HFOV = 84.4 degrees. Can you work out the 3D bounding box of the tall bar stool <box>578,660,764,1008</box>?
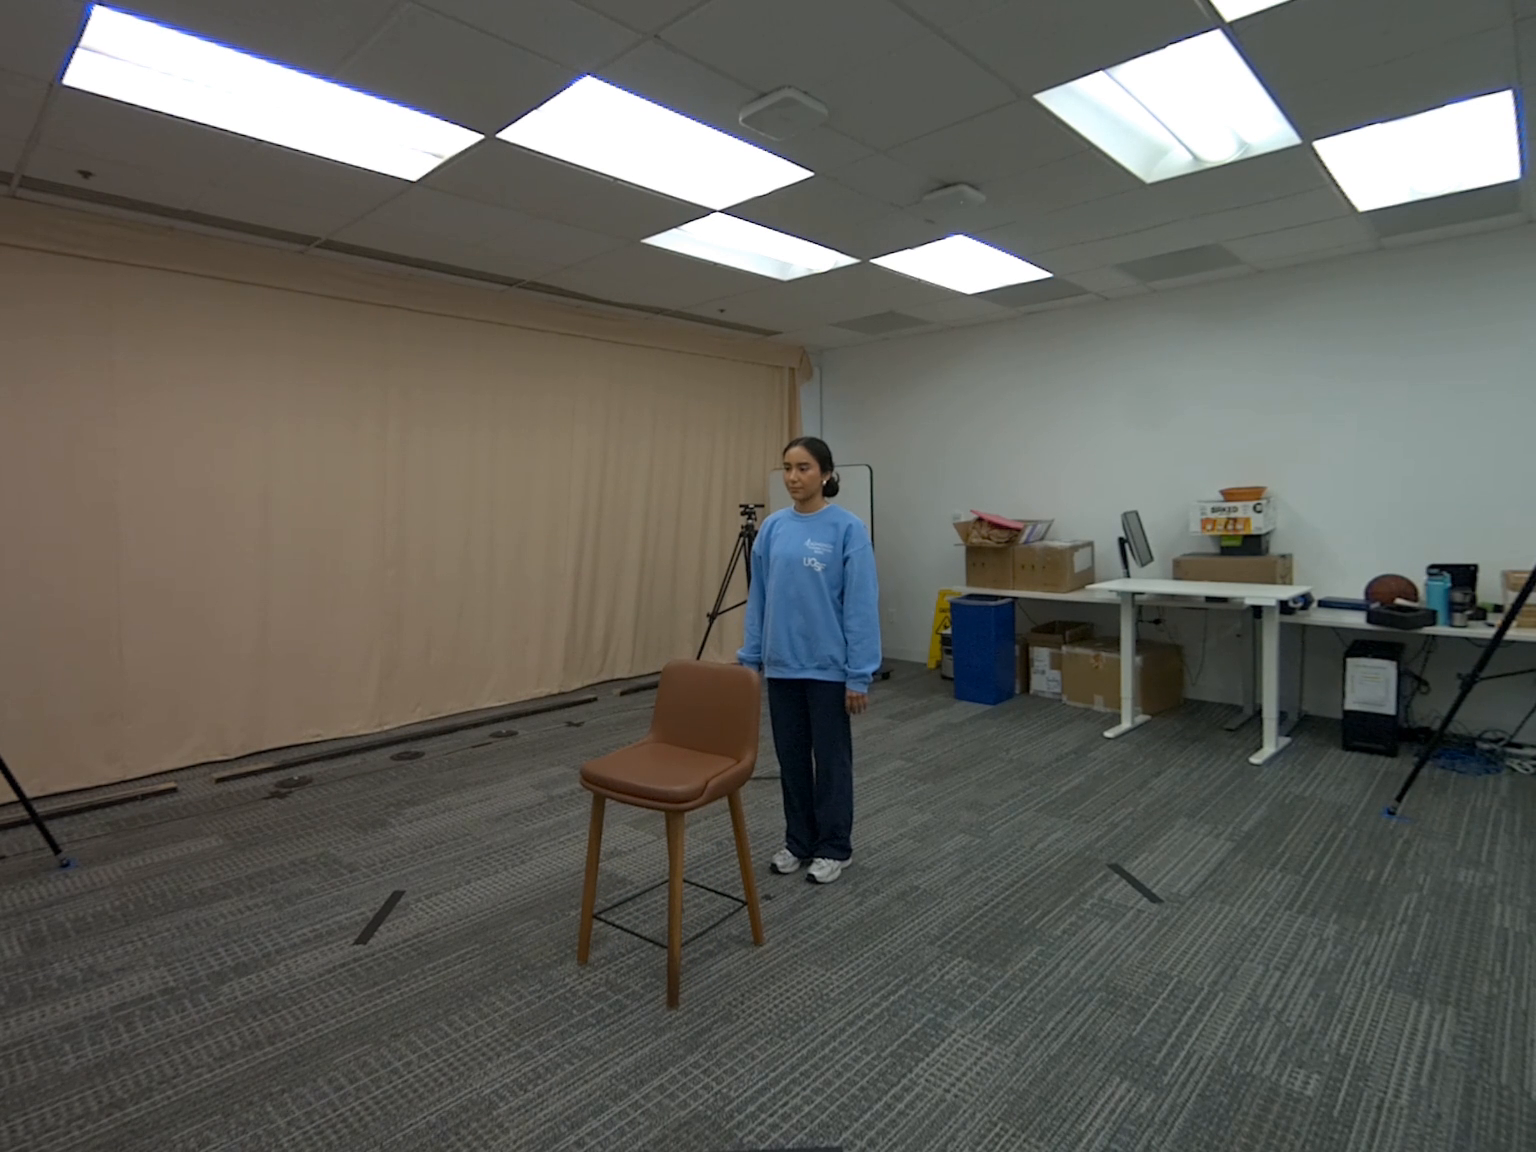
[{"bbox_3d":[-0.291,0.741,2.604,0.471,0.889,0.453,2,2,38],"label":"tall bar stool"}]
